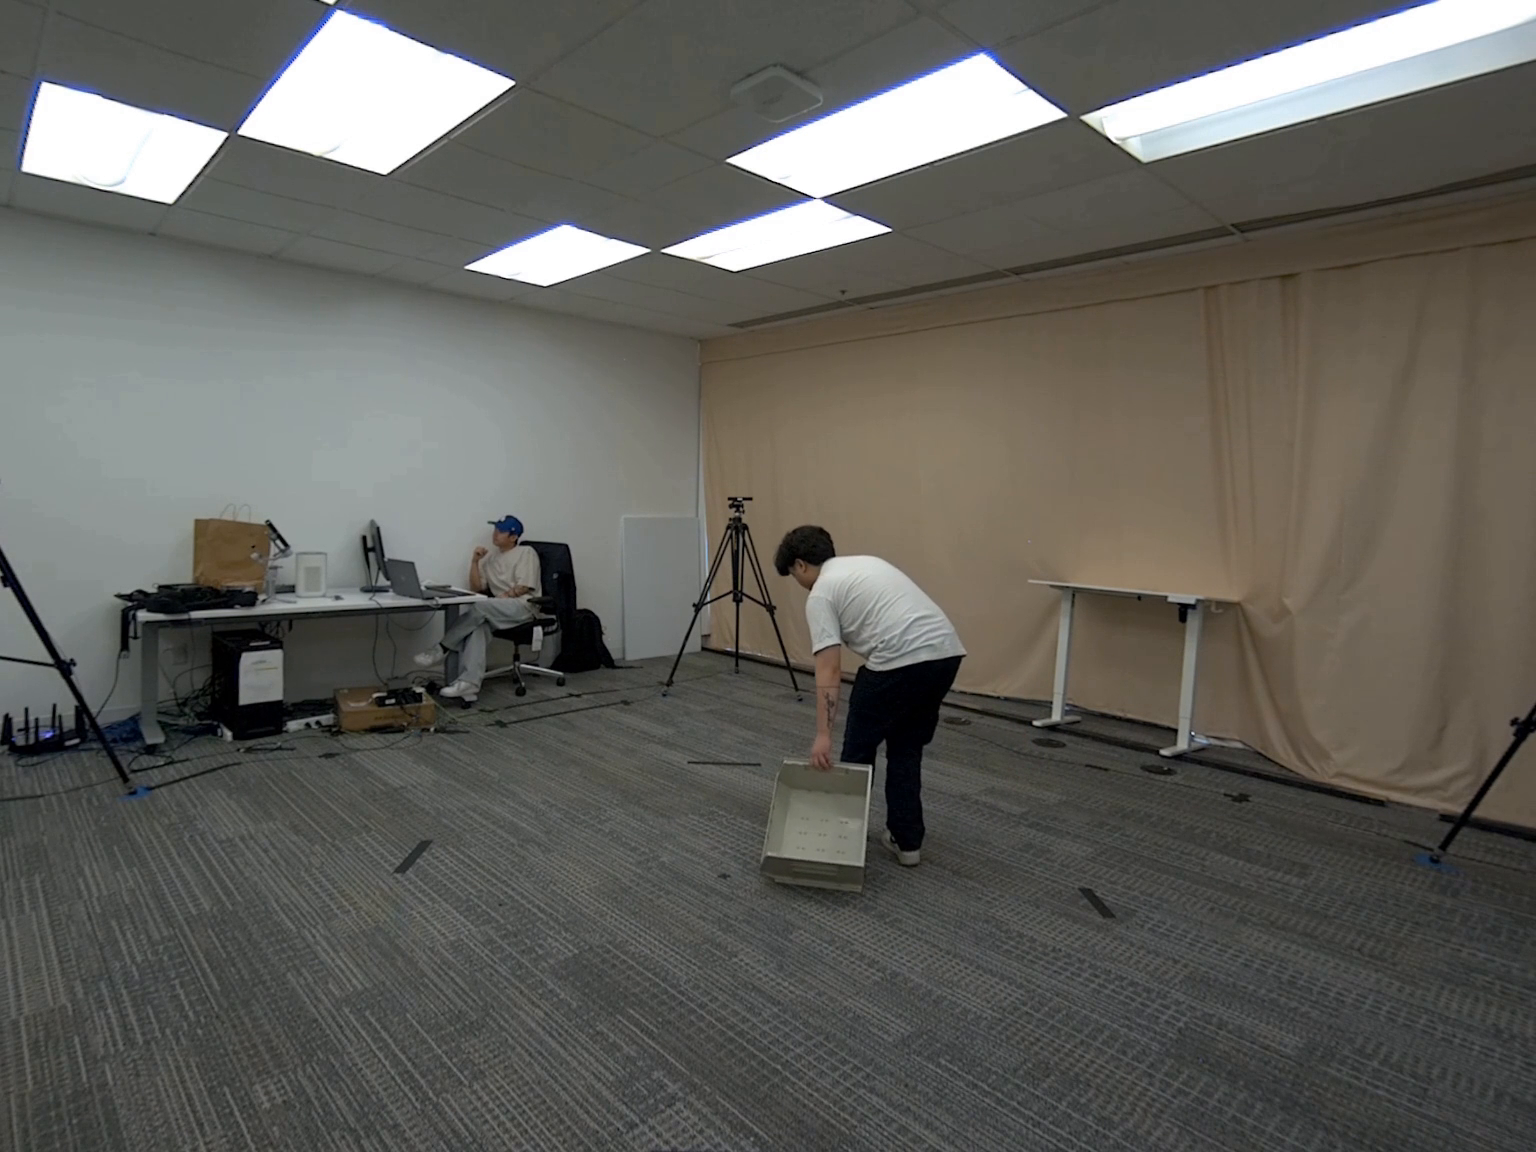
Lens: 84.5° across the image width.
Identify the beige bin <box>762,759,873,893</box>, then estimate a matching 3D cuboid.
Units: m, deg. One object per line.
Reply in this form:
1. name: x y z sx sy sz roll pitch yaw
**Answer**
1. beige bin: 0.179 0.920 3.134 0.381 0.184 0.428 2 40 11
